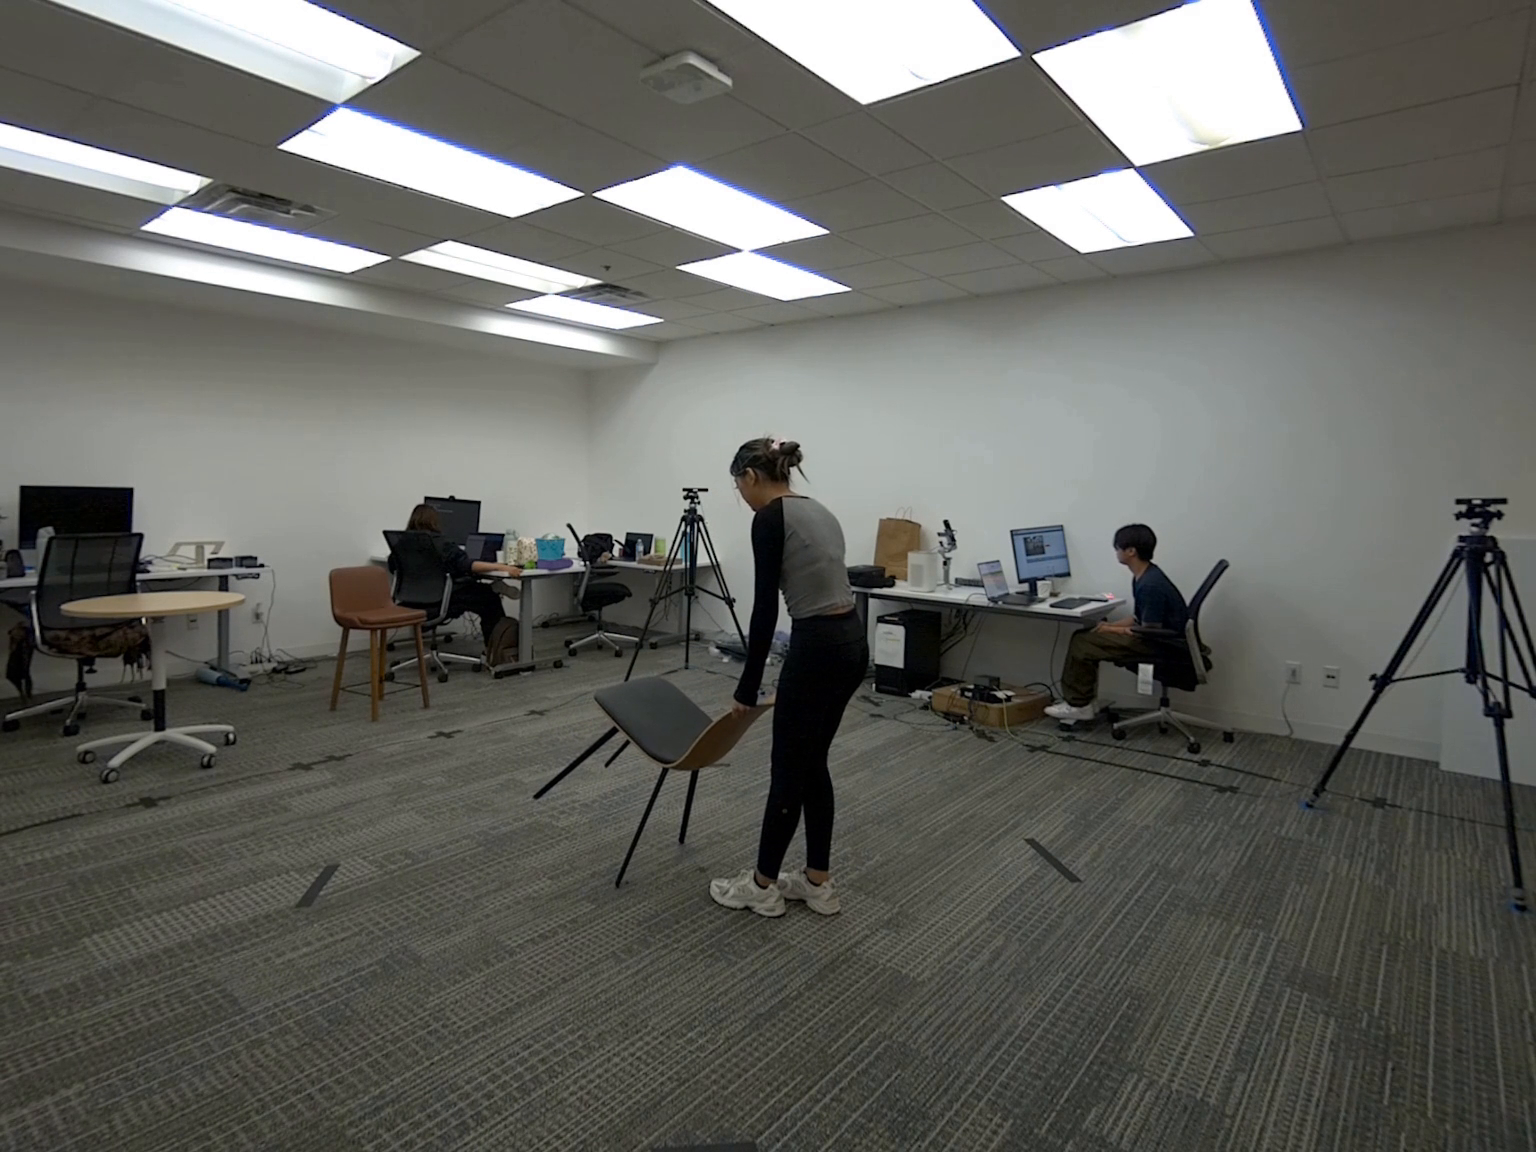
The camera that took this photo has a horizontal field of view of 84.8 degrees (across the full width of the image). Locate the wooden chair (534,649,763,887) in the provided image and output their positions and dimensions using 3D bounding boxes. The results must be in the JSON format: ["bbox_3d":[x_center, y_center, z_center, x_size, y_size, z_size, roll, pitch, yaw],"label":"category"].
[{"bbox_3d":[-0.396,0.583,3.101,0.538,0.875,0.466,44,21,19],"label":"wooden chair"}]
